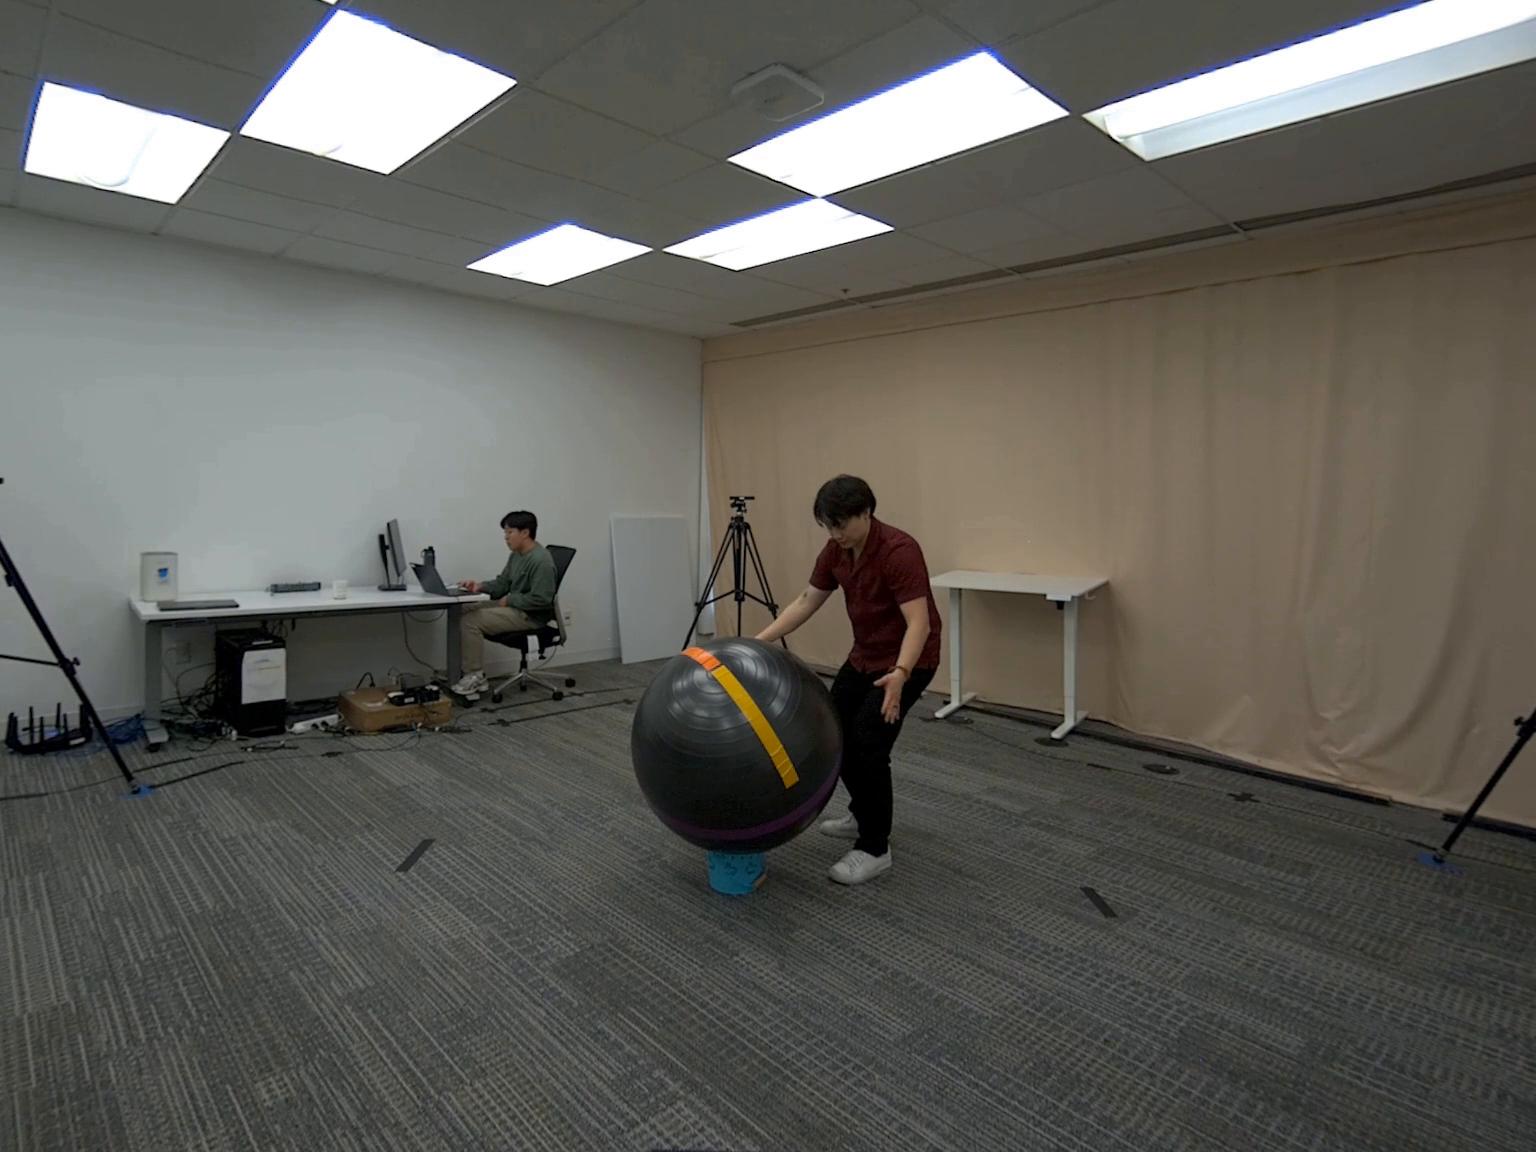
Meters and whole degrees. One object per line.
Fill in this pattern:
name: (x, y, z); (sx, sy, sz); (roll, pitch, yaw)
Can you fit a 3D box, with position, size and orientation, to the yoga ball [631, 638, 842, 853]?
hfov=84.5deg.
yoga ball: (-0.119, 0.606, 3.017); (0.757, 0.756, 0.761); (1, 4, -1)
